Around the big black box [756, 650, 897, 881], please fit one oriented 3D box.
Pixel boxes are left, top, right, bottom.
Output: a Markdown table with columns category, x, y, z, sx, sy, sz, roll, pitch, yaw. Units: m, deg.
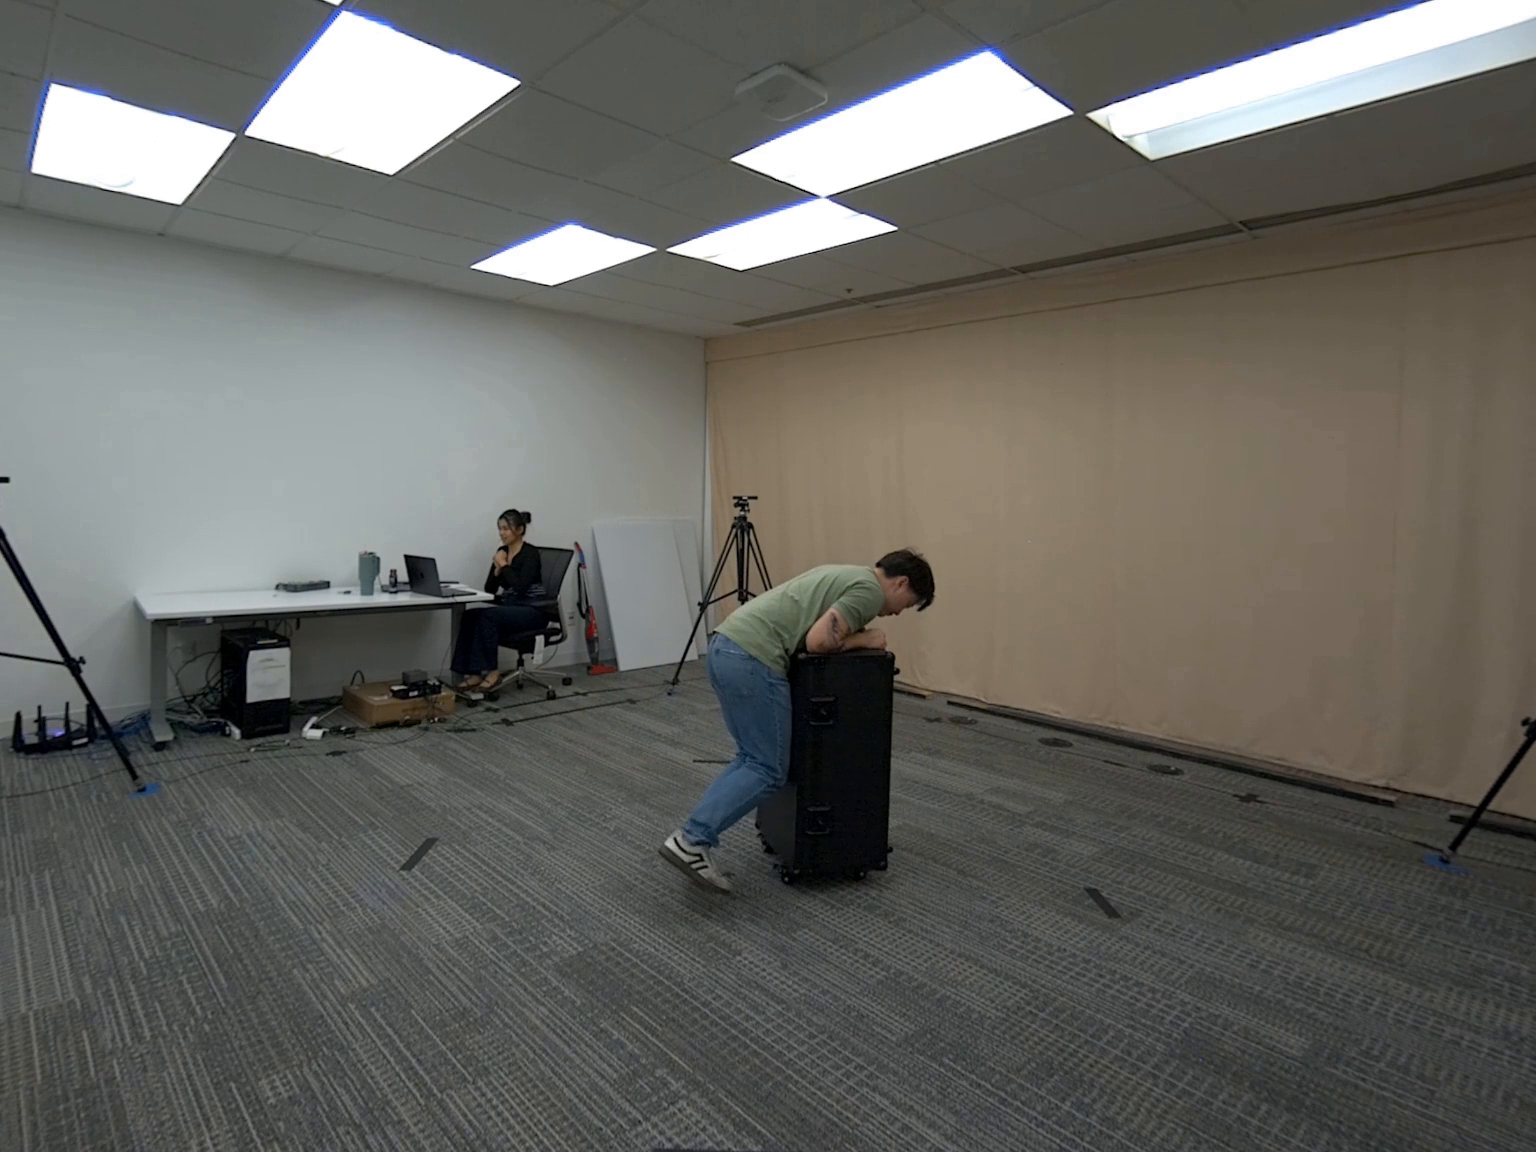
| category | x | y | z | sx | sy | sz | roll | pitch | yaw |
| --- | --- | --- | --- | --- | --- | --- | --- | --- | --- |
| big black box | 0.201 | 0.683 | 3.194 | 0.391 | 0.860 | 0.529 | 2 | 3 | -16 |
